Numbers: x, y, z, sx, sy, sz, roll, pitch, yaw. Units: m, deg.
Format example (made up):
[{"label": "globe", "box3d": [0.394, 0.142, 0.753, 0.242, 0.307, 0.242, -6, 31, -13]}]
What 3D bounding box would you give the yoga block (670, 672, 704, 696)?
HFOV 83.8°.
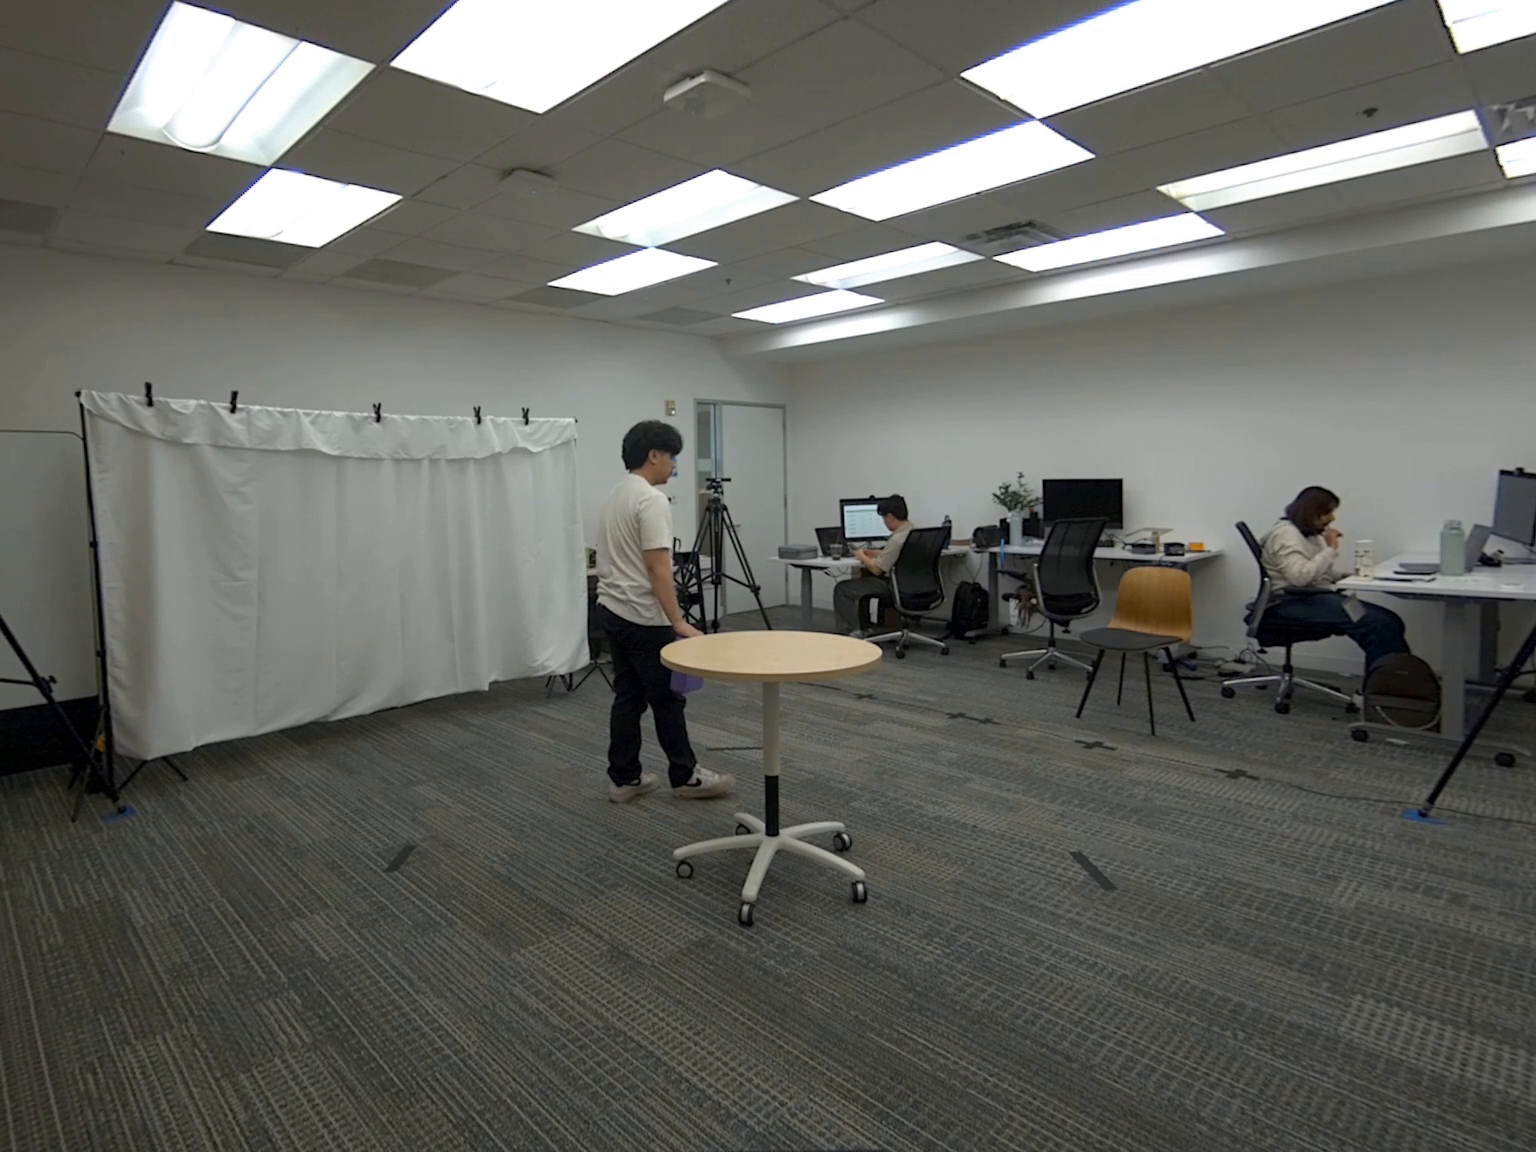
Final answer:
[{"label": "yoga block", "box3d": [-0.334, 0.365, 3.591, 0.078, 0.228, 0.145, 7, 6, 30]}]
